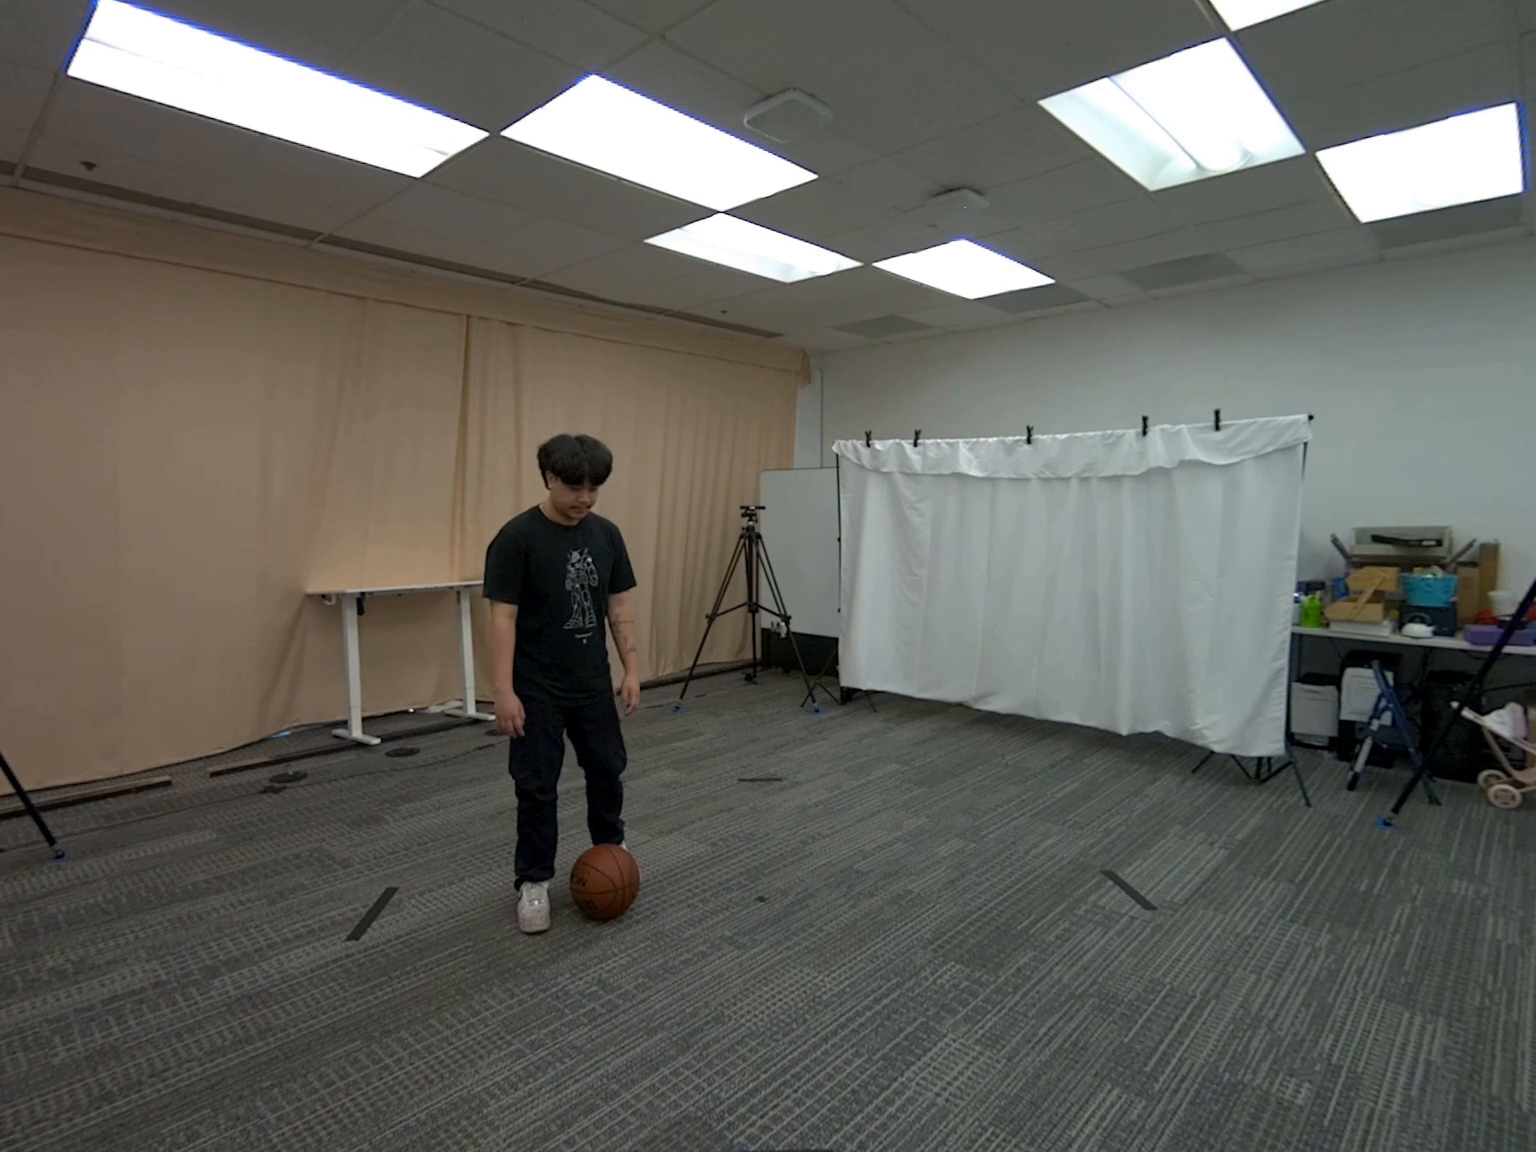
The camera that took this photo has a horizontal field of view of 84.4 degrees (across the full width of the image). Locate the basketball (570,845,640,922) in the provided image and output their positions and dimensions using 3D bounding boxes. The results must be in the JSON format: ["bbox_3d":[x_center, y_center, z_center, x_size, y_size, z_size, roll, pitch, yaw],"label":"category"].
[{"bbox_3d":[-0.550,1.036,2.871,0.236,0.235,0.237,0,4,-2],"label":"basketball"}]
